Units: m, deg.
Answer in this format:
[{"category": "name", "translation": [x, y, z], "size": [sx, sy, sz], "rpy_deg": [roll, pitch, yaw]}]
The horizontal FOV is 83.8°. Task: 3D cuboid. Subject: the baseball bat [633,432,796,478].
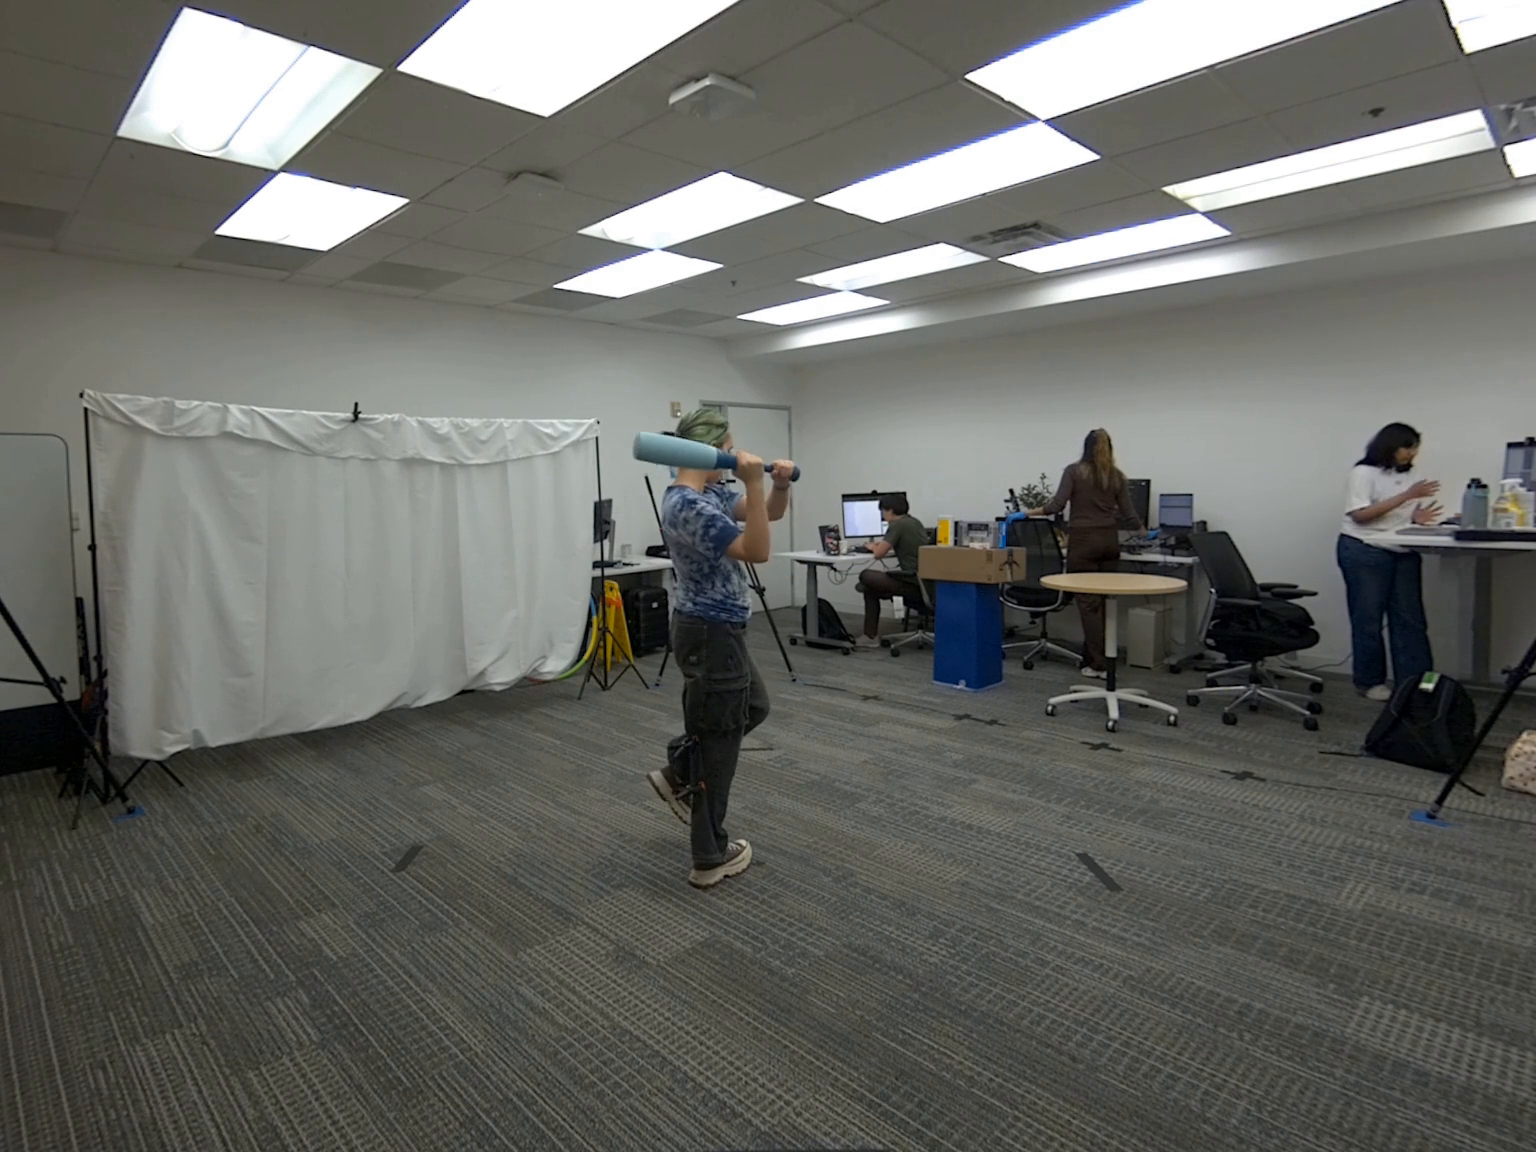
[{"category": "baseball bat", "translation": [-0.140, -0.348, 2.634], "size": [0.531, 0.089, 0.091], "rpy_deg": [8, 1, -22]}]
